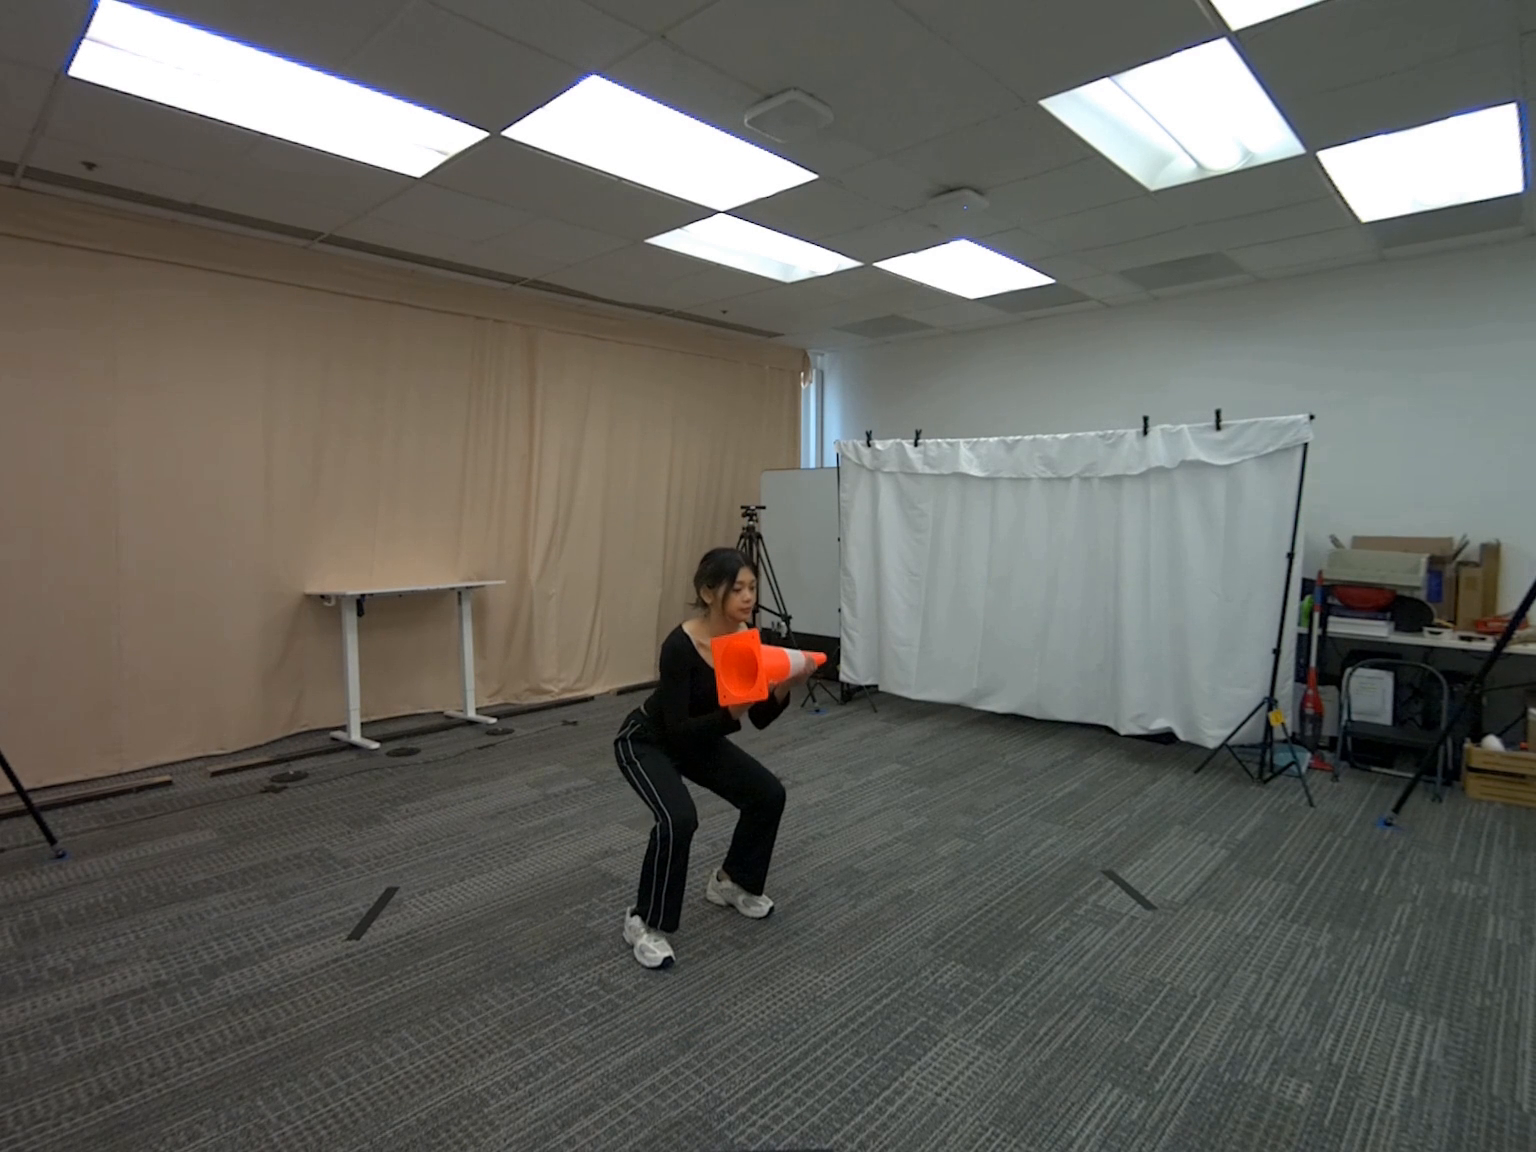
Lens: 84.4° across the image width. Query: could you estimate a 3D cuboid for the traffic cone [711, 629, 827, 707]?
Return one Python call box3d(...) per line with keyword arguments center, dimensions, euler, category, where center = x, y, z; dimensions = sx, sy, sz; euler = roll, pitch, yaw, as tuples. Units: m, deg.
box3d(center=(0.040, 0.258, 2.549), dimensions=(0.371, 0.207, 0.208), euler=(0, -15, -44), category="traffic cone")
